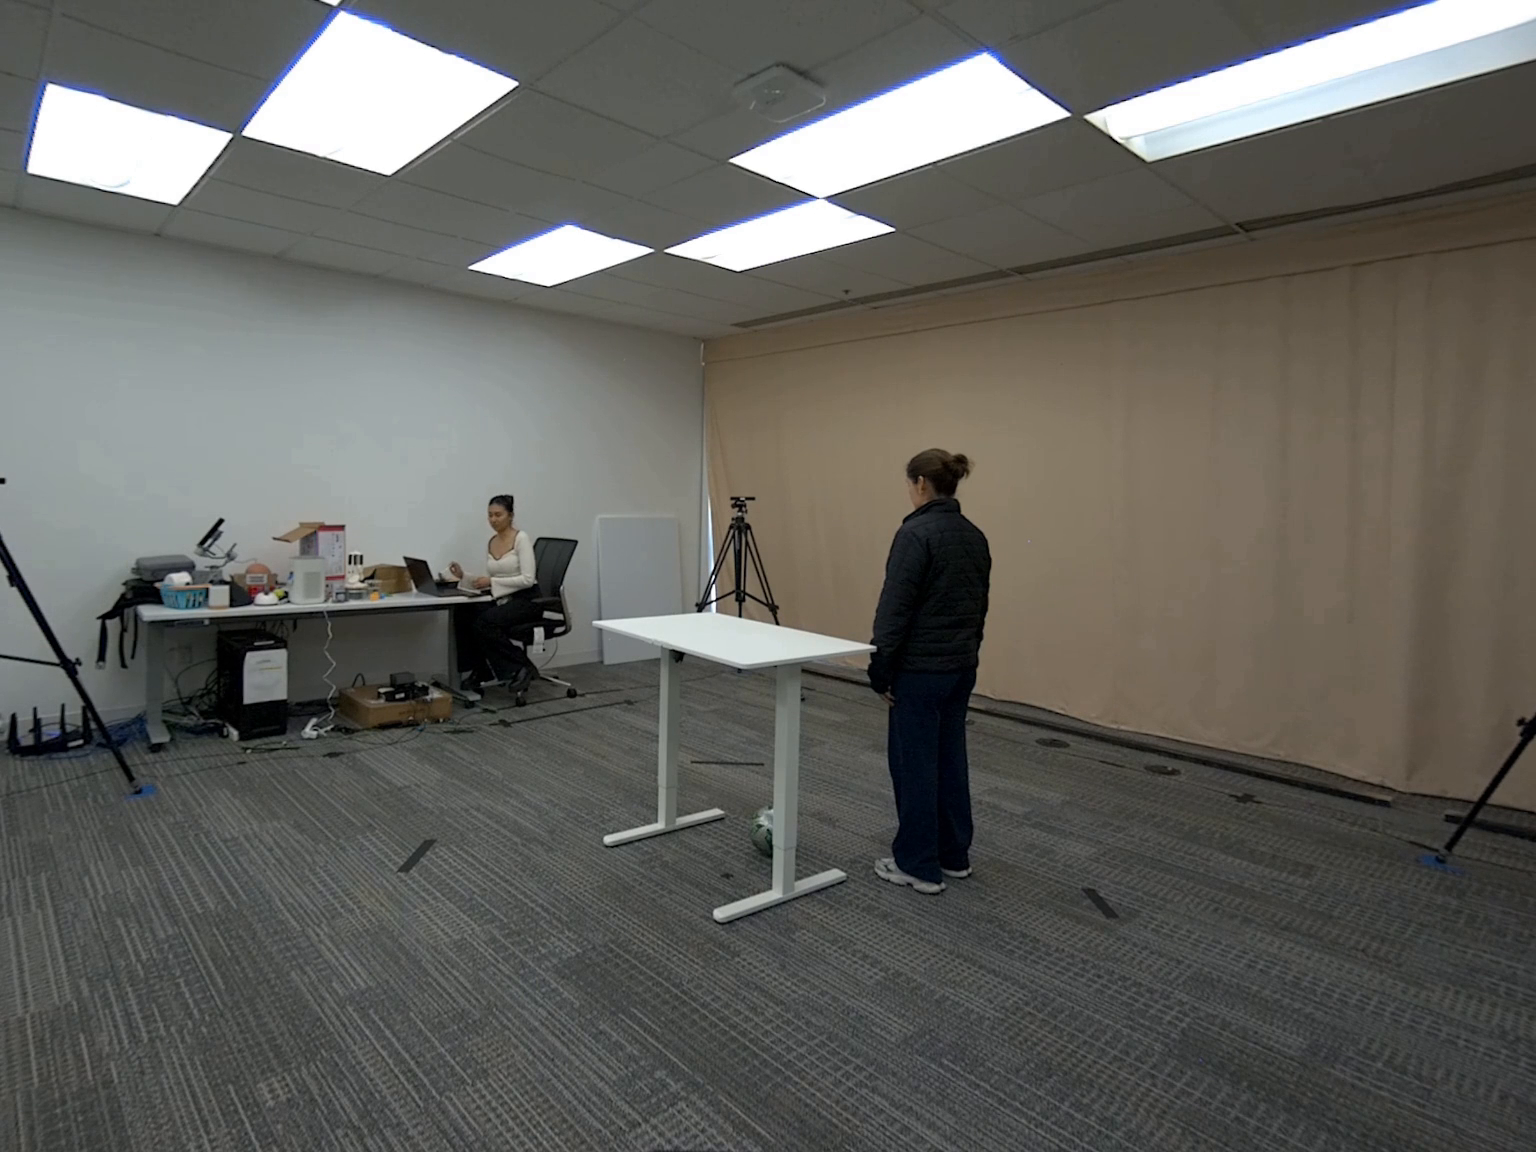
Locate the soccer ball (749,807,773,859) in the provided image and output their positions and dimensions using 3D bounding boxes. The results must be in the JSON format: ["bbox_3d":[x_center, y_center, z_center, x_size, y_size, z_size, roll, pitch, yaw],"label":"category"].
[{"bbox_3d":[0.018,0.991,3.299,0.187,0.187,0.188,1,4,-1],"label":"soccer ball"}]
